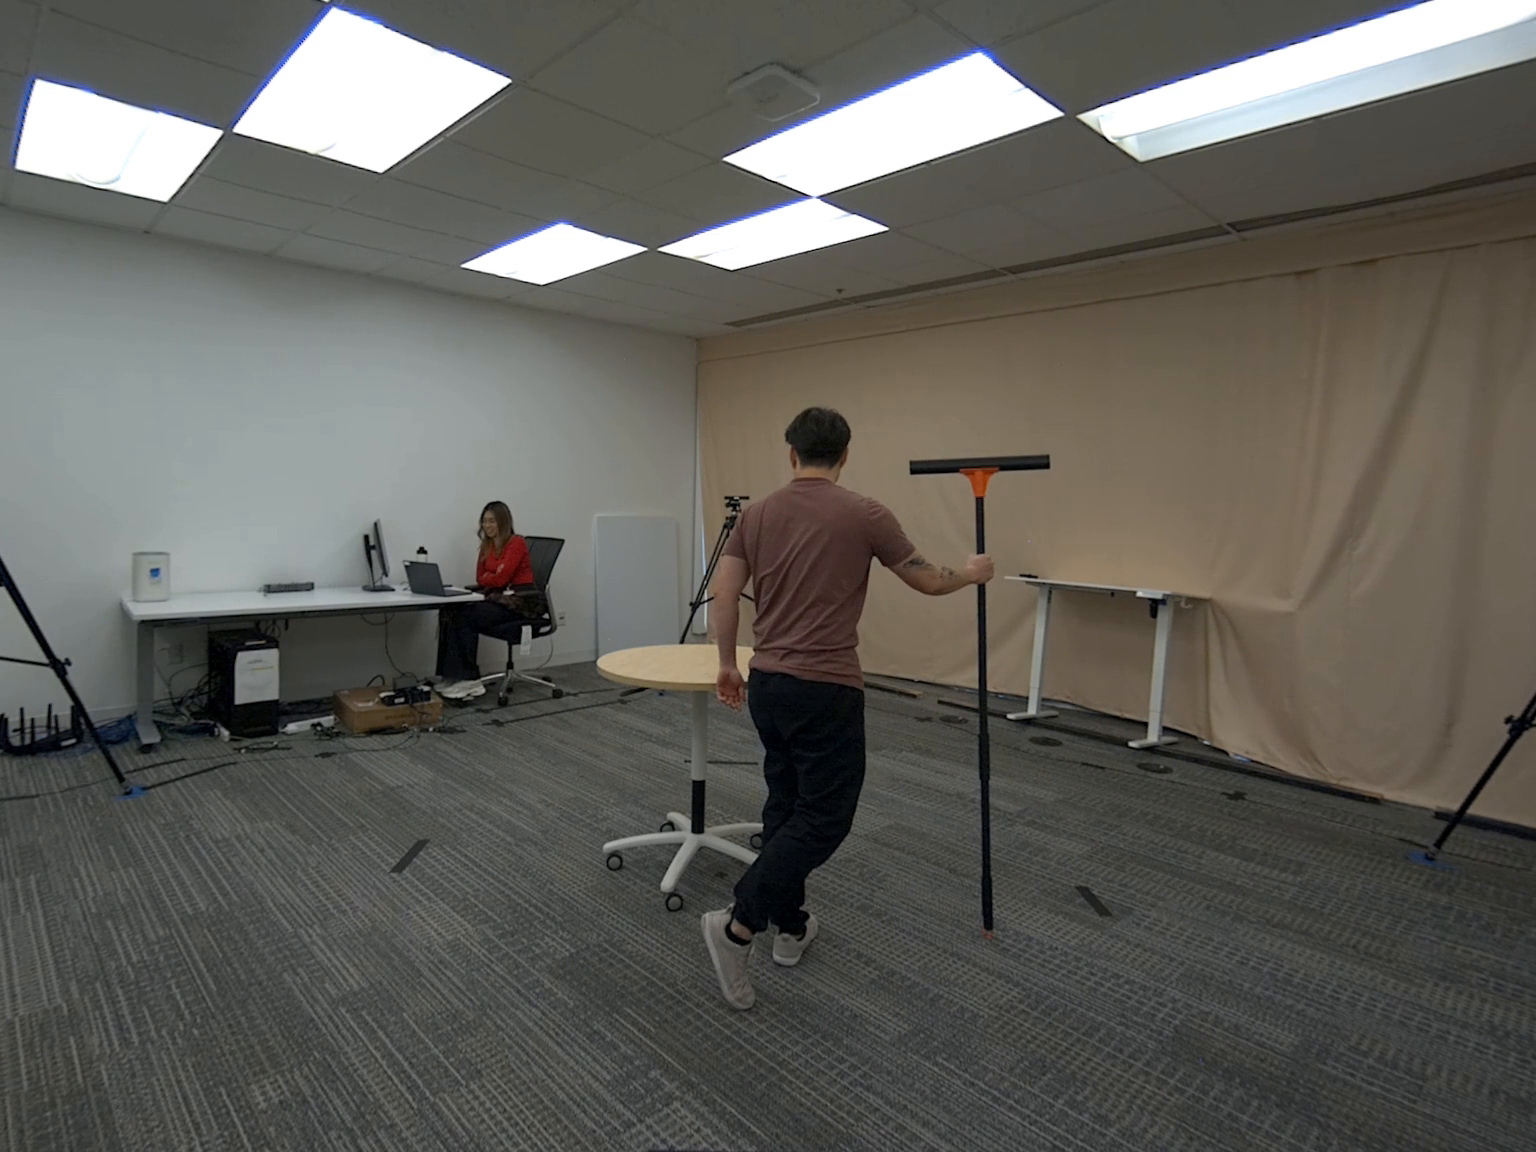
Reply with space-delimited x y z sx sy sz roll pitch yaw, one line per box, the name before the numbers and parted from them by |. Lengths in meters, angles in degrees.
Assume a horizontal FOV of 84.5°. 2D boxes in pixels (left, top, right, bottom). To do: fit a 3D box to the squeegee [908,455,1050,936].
squeegee | 0.697 0.394 2.707 0.443 1.536 0.052 1 1 17
